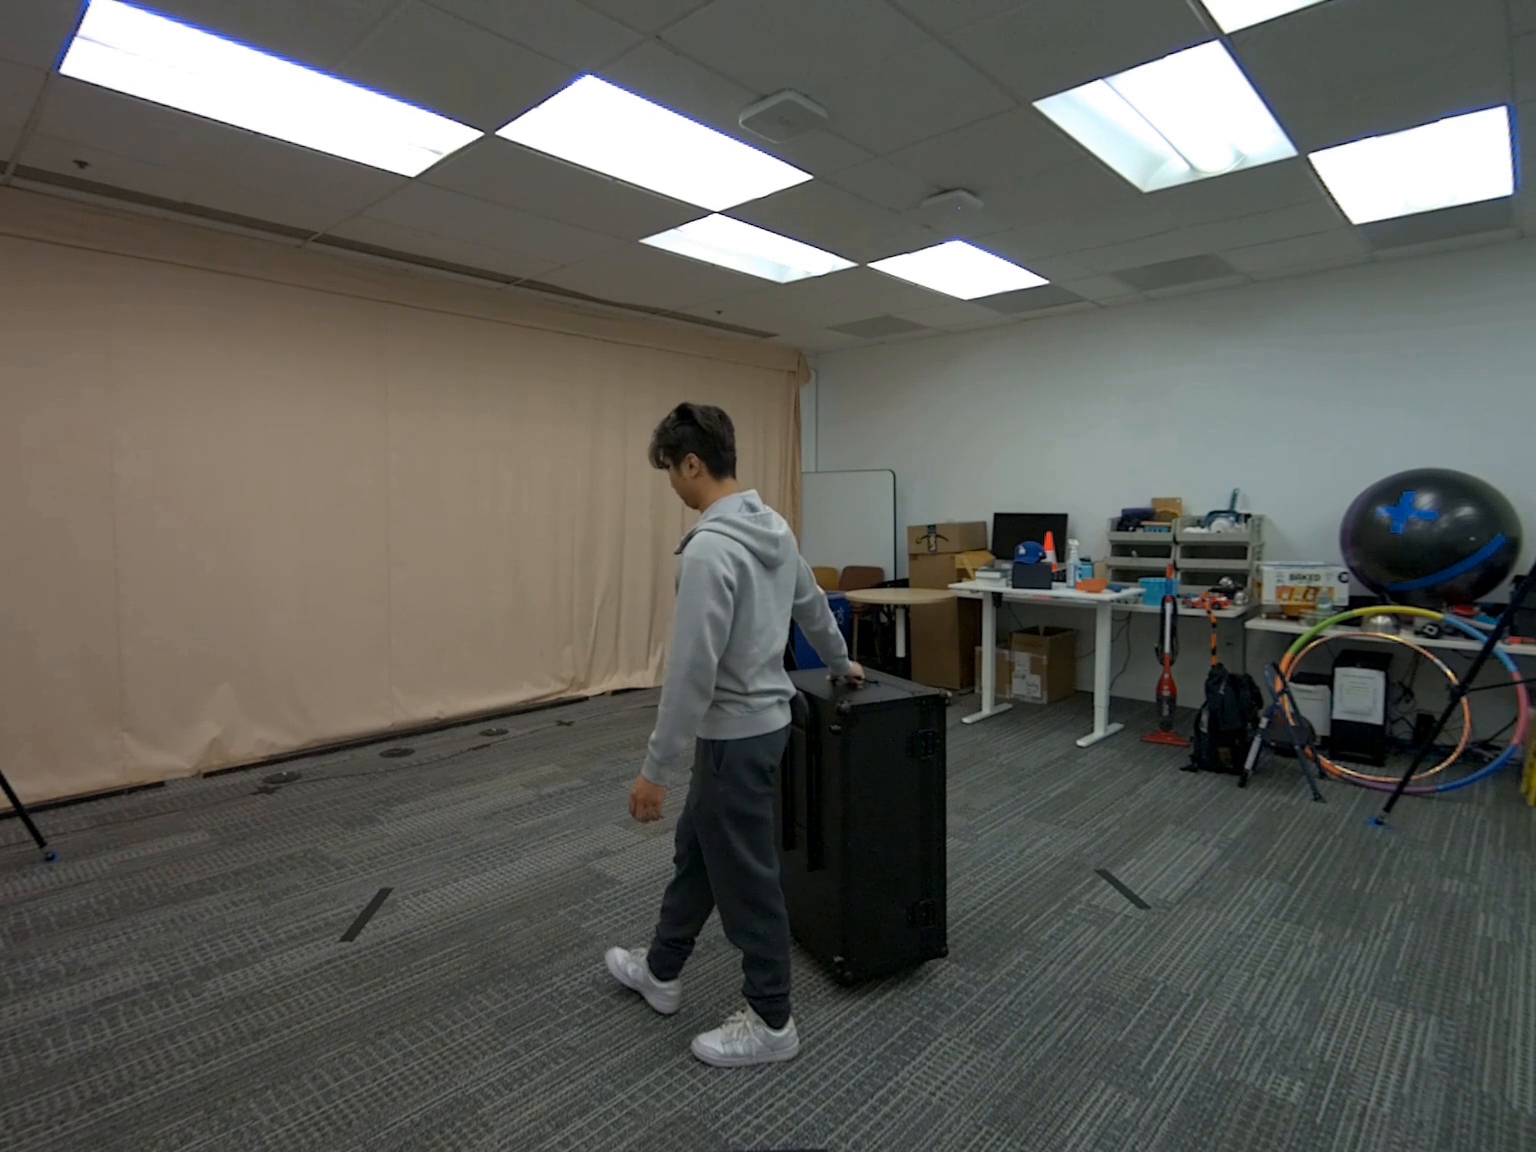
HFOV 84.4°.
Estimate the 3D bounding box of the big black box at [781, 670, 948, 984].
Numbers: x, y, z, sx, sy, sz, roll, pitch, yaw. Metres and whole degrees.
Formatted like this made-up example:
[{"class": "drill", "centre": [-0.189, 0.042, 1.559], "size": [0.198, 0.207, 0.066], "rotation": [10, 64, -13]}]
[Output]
[{"class": "big black box", "centre": [0.260, 0.751, 2.591], "size": [0.387, 0.859, 0.535], "rotation": [-4, 5, -25]}]
